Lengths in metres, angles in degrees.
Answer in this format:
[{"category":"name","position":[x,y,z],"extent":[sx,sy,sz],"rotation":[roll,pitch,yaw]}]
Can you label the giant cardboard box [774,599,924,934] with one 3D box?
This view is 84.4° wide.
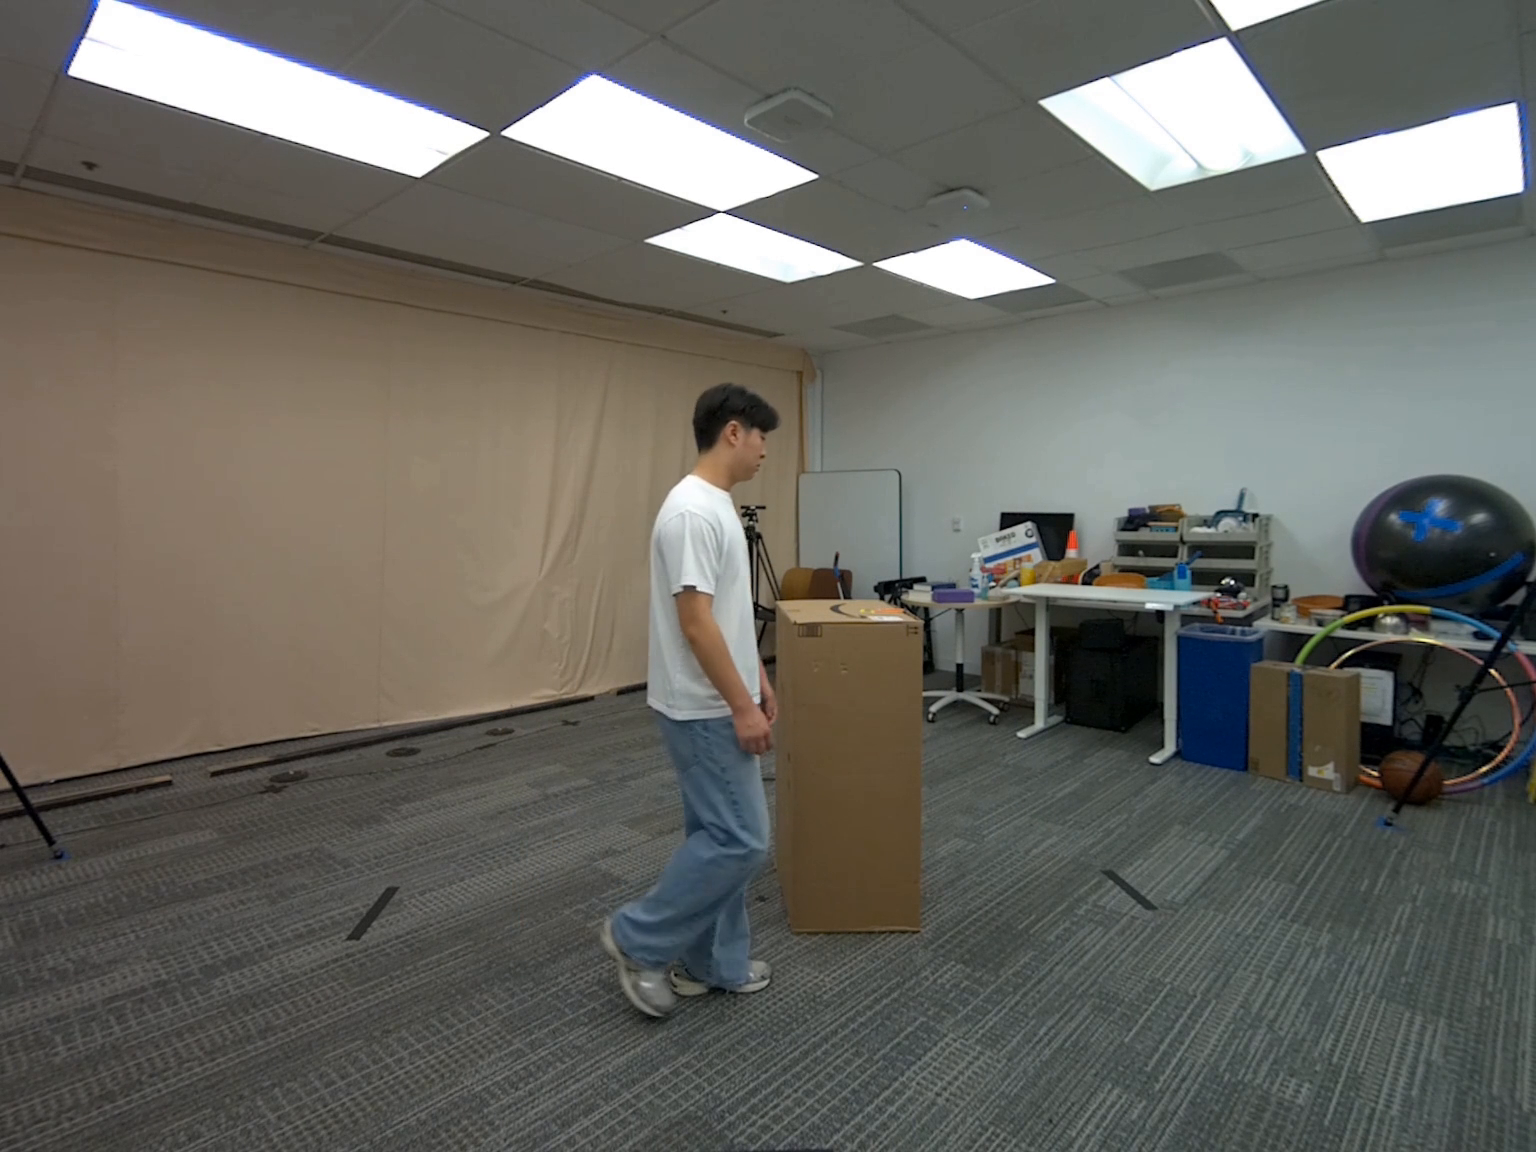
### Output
[{"category":"giant cardboard box","position":[0.273,0.633,2.997],"extent":[0.424,1.024,0.581],"rotation":[0,3,-5]}]
